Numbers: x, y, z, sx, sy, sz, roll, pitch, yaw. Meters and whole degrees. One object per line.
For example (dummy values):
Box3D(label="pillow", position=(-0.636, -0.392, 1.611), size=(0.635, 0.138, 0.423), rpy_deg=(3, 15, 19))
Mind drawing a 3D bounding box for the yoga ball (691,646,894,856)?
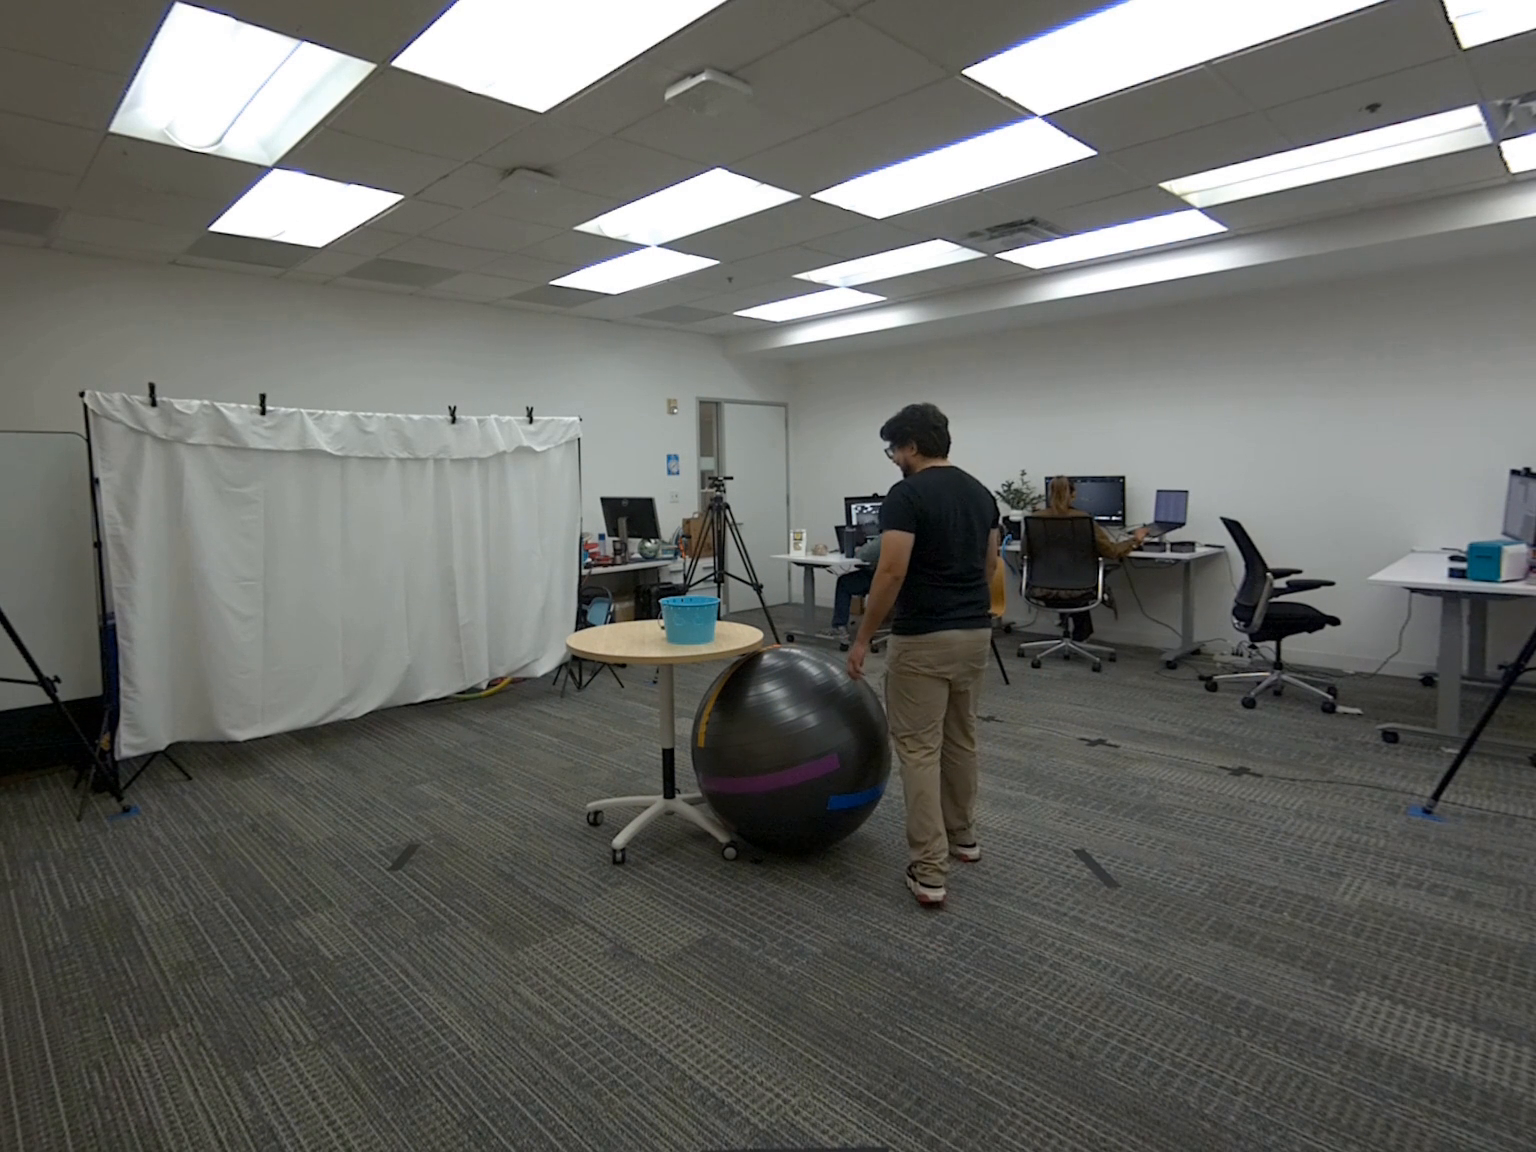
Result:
Box3D(label="yoga ball", position=(0.090, 0.652, 3.230), size=(0.757, 0.755, 0.762), rpy_deg=(-1, 5, -2))
